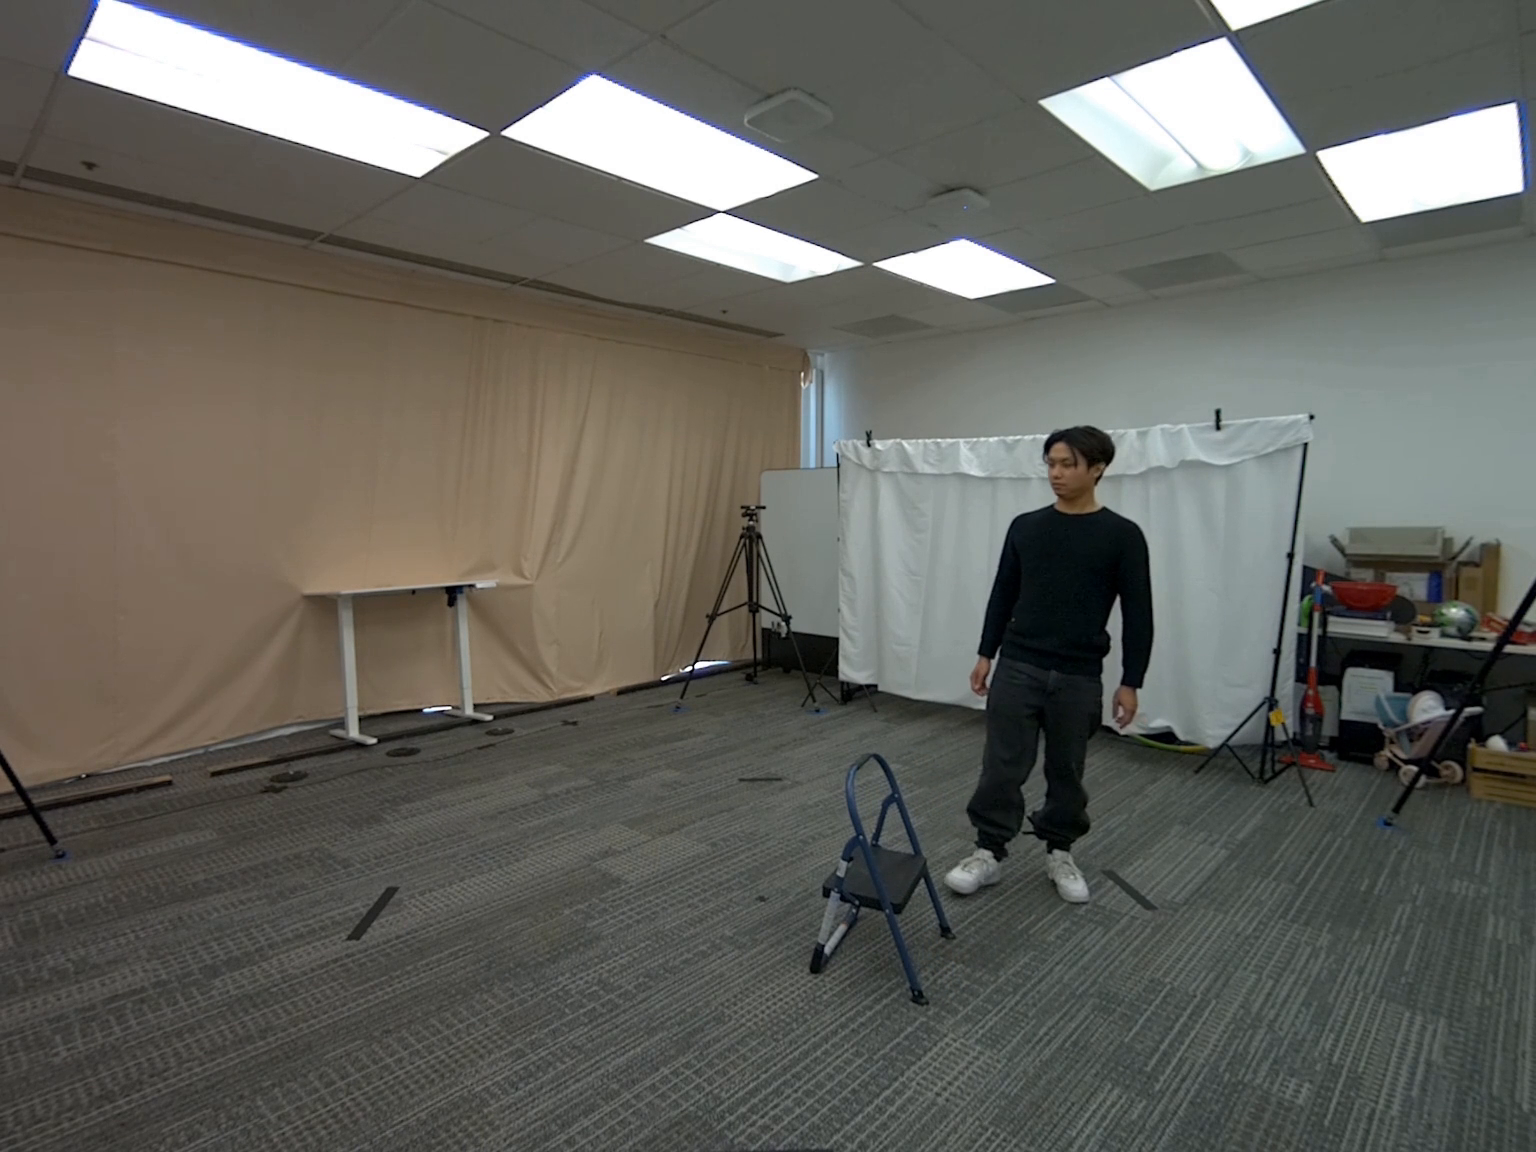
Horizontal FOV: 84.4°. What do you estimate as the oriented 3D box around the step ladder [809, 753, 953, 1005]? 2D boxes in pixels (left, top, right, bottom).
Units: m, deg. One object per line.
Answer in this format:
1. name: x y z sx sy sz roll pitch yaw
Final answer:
1. step ladder: 0.370 0.873 2.594 0.358 0.605 0.420 2 4 24
